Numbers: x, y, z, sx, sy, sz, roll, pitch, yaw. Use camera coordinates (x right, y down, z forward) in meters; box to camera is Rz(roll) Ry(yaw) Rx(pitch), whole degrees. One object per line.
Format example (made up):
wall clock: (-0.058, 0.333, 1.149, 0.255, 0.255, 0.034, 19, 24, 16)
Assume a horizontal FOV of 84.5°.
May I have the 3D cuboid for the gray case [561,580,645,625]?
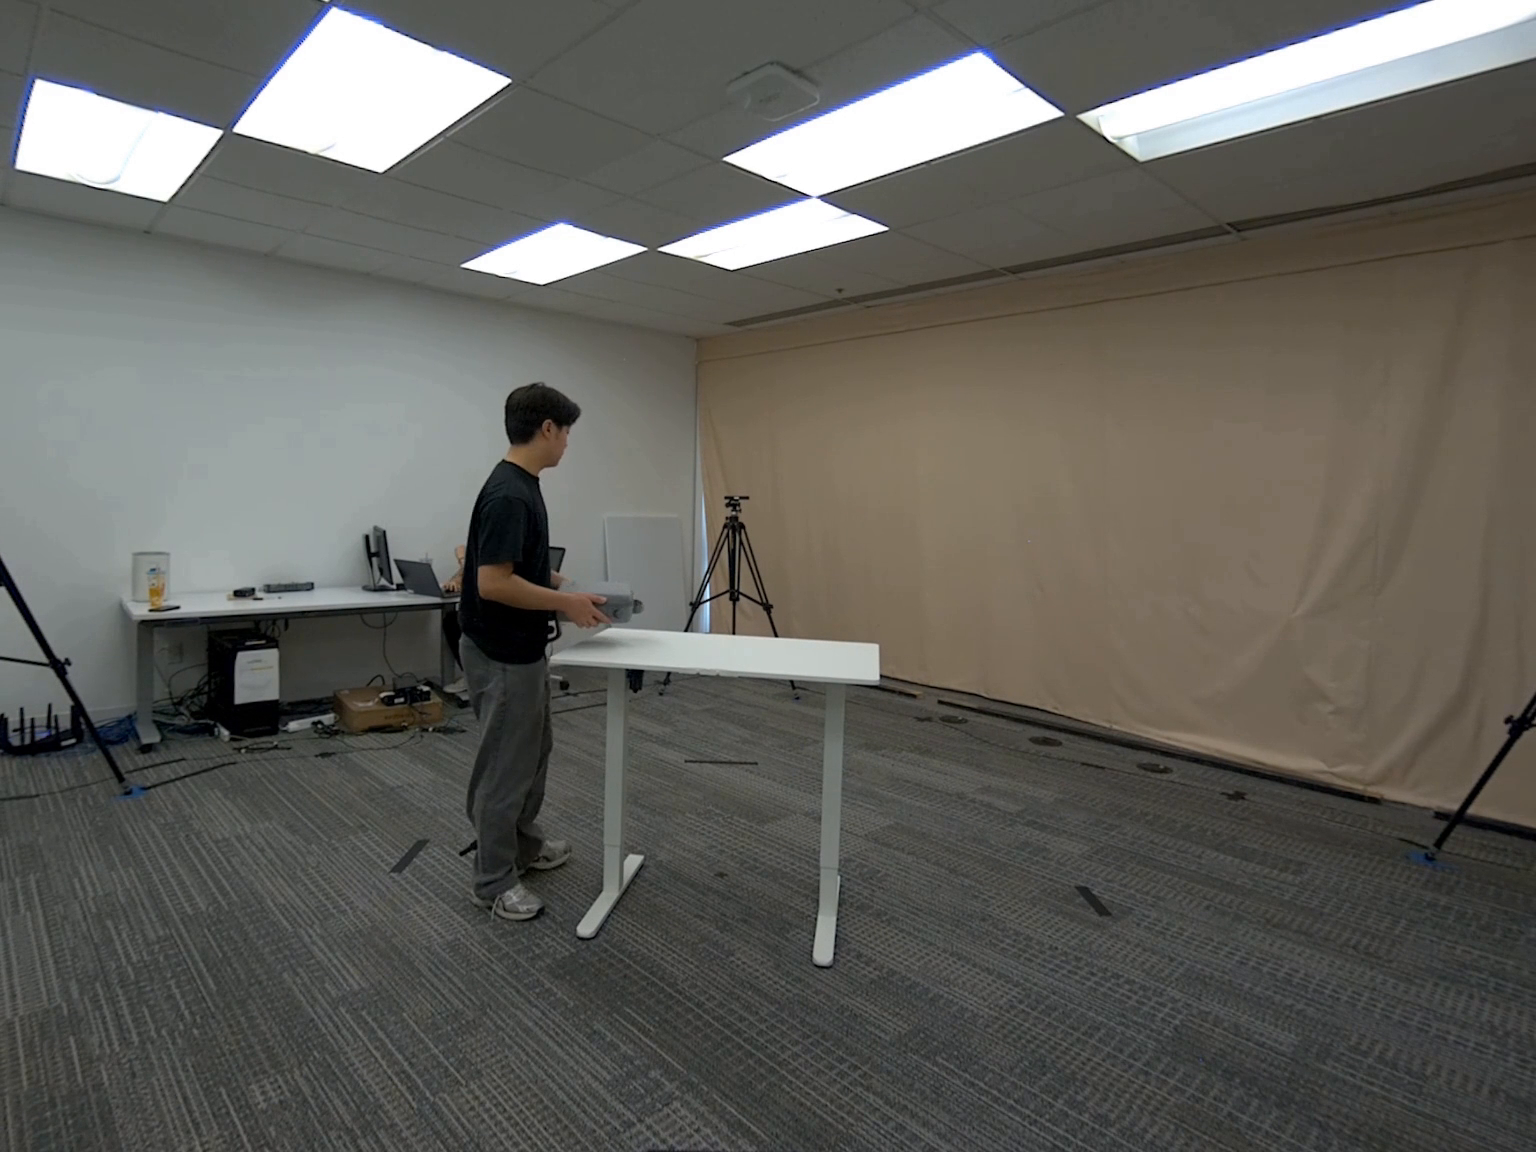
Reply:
gray case: (-0.588, 0.077, 2.906, 0.287, 0.102, 0.265, 2, 11, 0)
